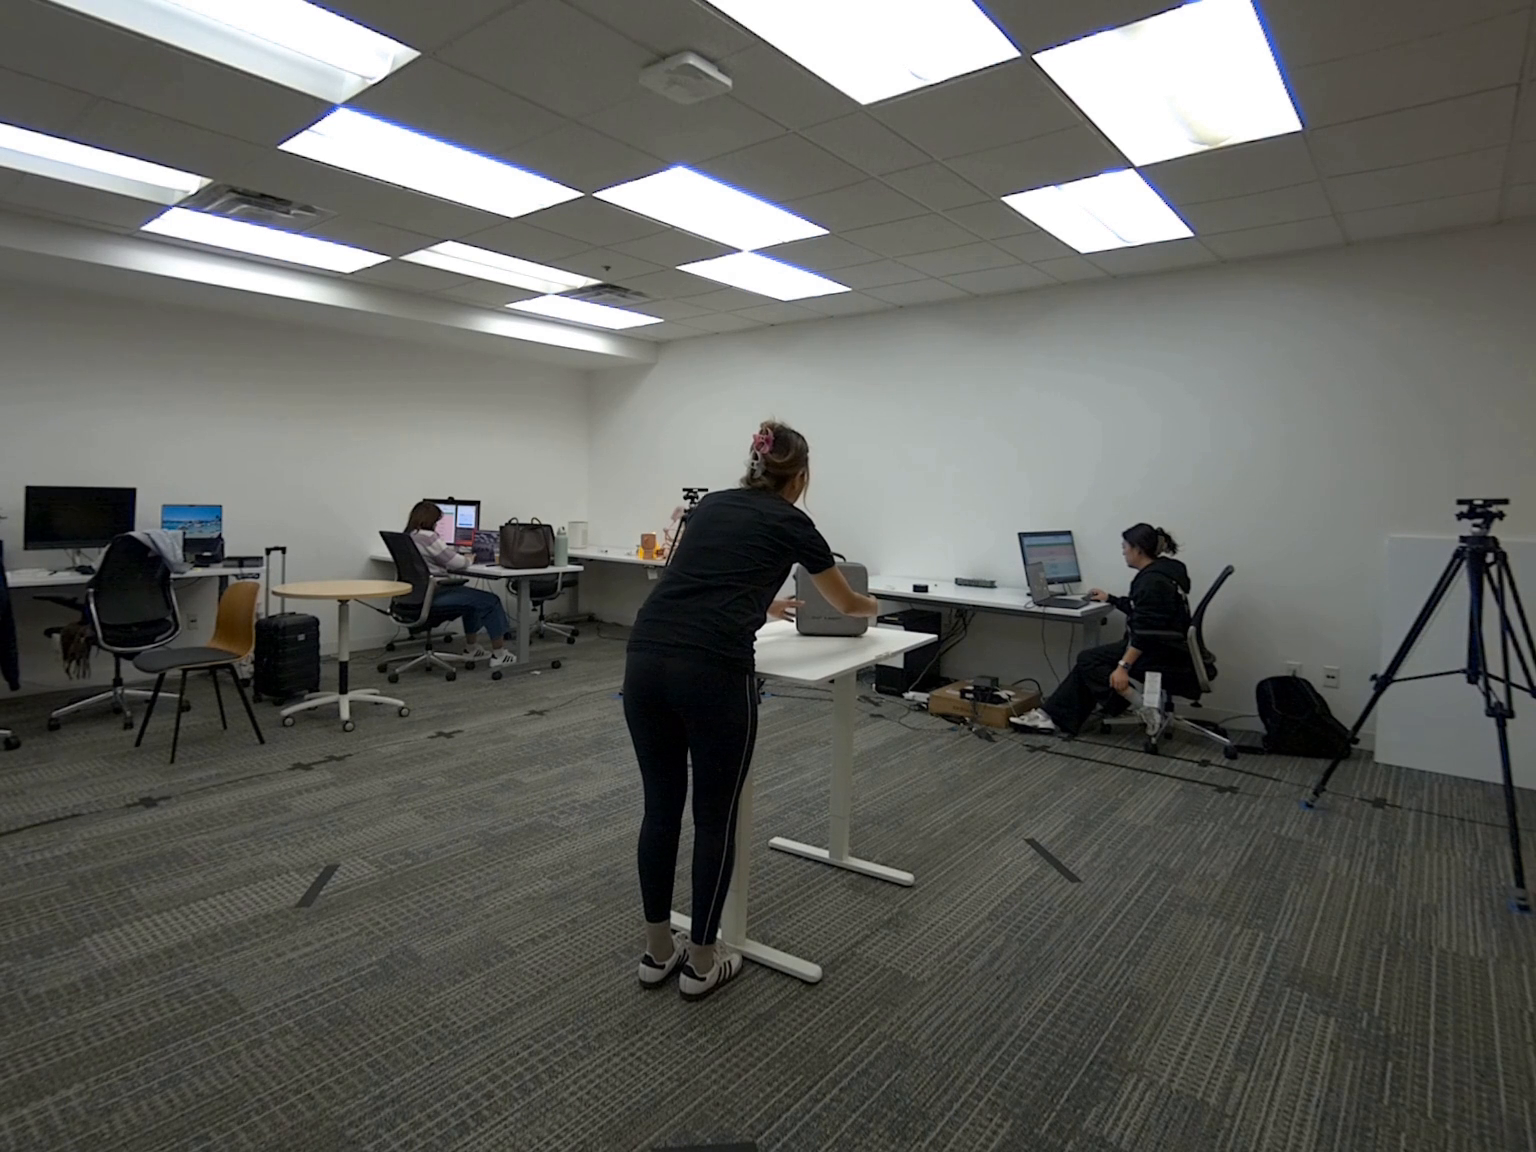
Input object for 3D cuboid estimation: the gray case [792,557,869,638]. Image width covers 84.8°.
[{"bbox_3d":[0.213,0.074,3.039,0.256,0.262,0.104,4,-8,-4],"label":"gray case"}]
